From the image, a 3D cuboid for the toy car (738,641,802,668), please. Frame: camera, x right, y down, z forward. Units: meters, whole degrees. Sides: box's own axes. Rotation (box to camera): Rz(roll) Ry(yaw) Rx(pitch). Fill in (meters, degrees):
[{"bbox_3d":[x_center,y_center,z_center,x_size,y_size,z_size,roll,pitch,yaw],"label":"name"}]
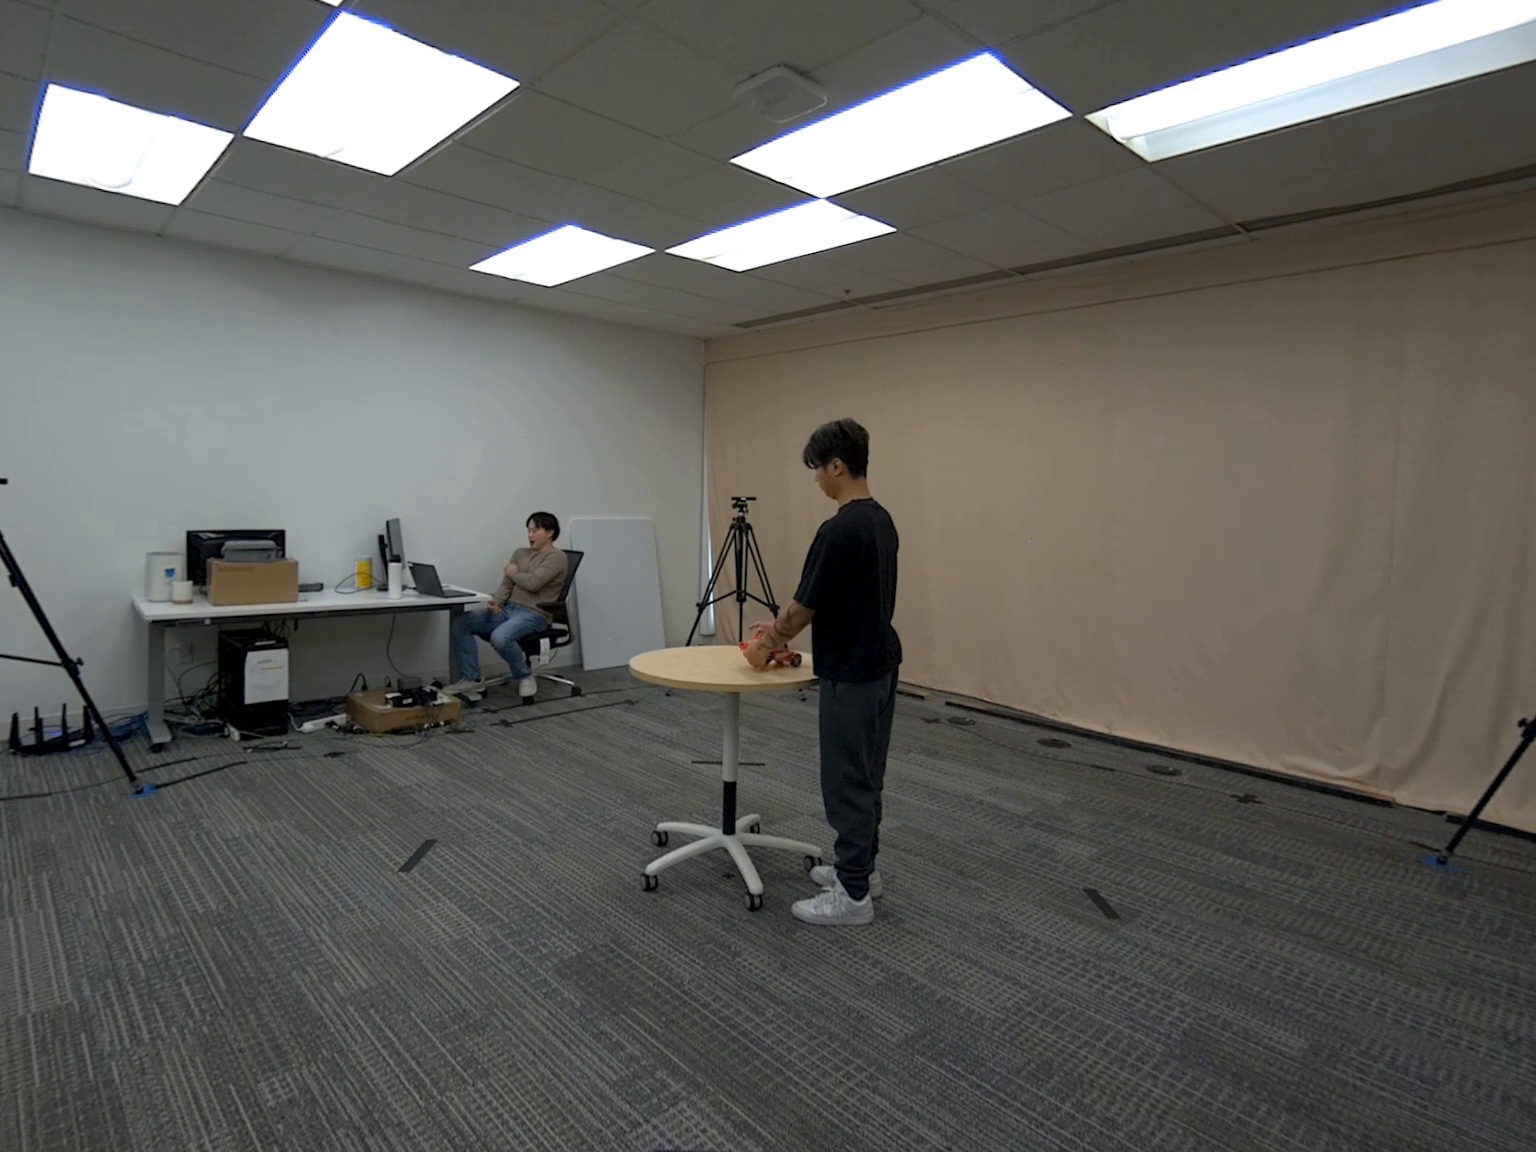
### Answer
[{"bbox_3d":[-0.007,0.283,3.055,0.247,0.083,0.133,25,-10,-33],"label":"toy car"}]
